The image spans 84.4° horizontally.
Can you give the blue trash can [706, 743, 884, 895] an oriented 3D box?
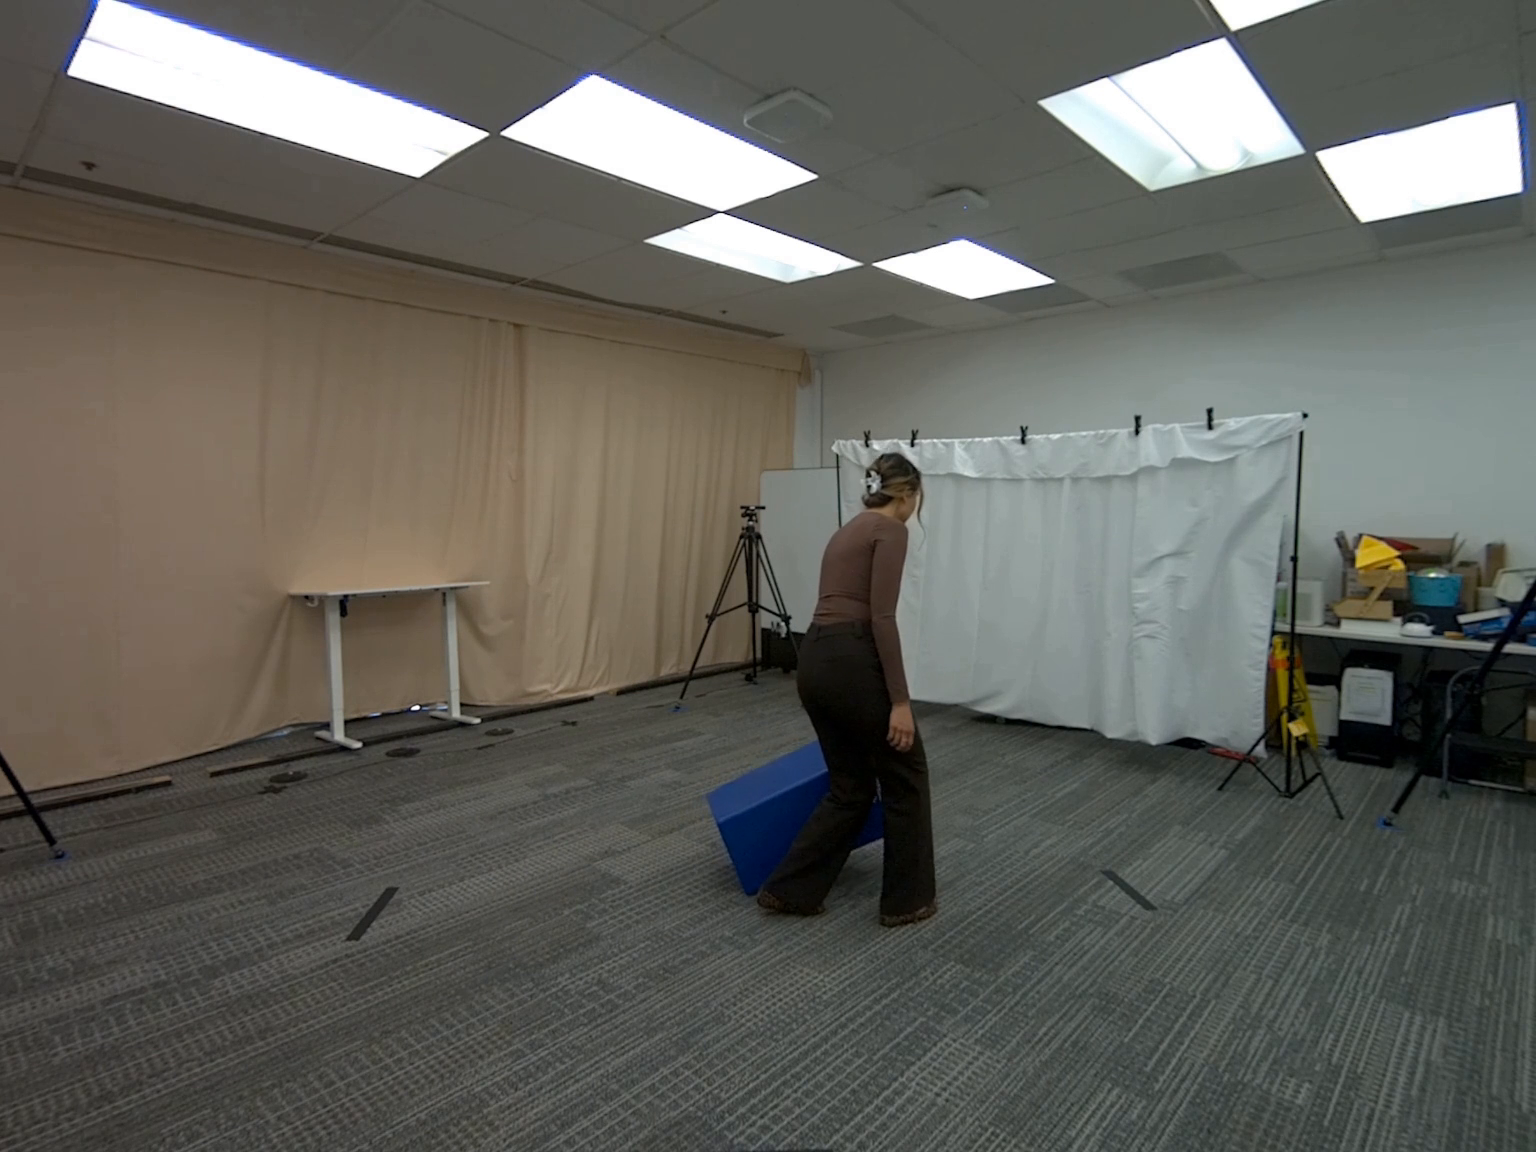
[{"bbox_3d":[0.175,0.854,3.164,0.709,0.375,0.379,-24,8,-8],"label":"blue trash can"}]
